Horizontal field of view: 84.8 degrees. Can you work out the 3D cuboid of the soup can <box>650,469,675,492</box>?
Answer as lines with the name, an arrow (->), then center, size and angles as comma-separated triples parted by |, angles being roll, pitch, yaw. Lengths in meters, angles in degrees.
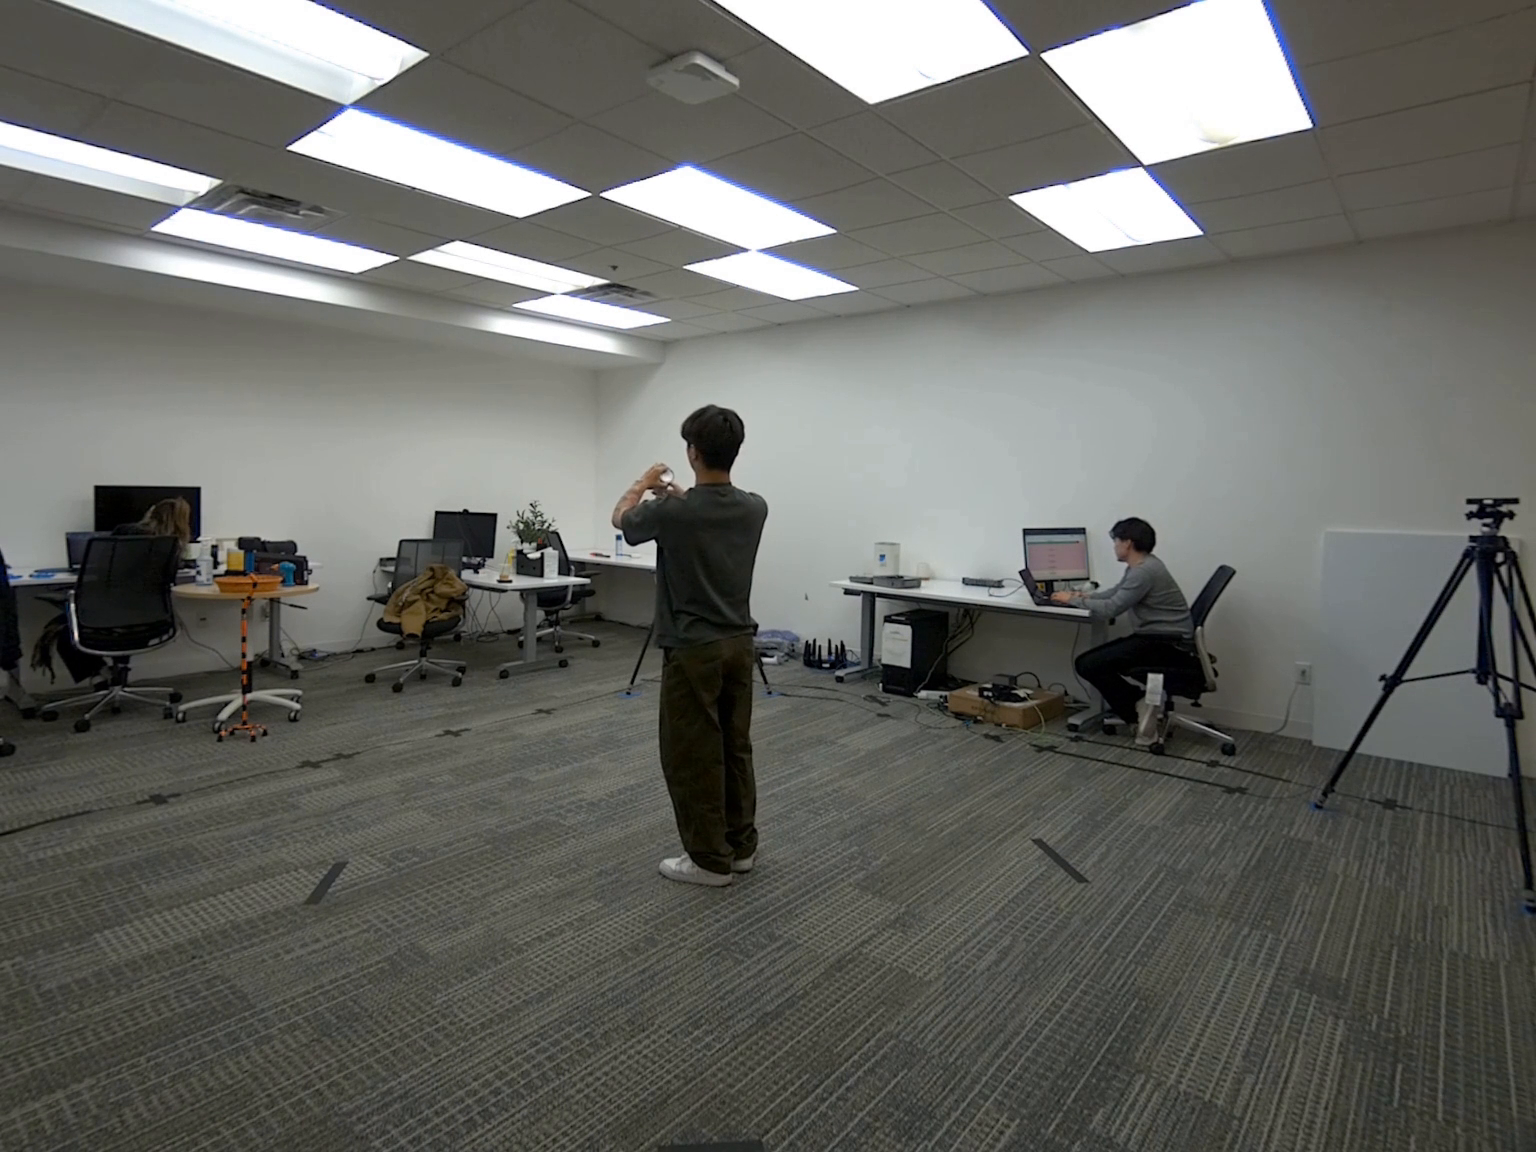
soup can -> -0.435, -0.390, 3.418 | 0.066, 0.068, 0.120 | 0, -19, -12
